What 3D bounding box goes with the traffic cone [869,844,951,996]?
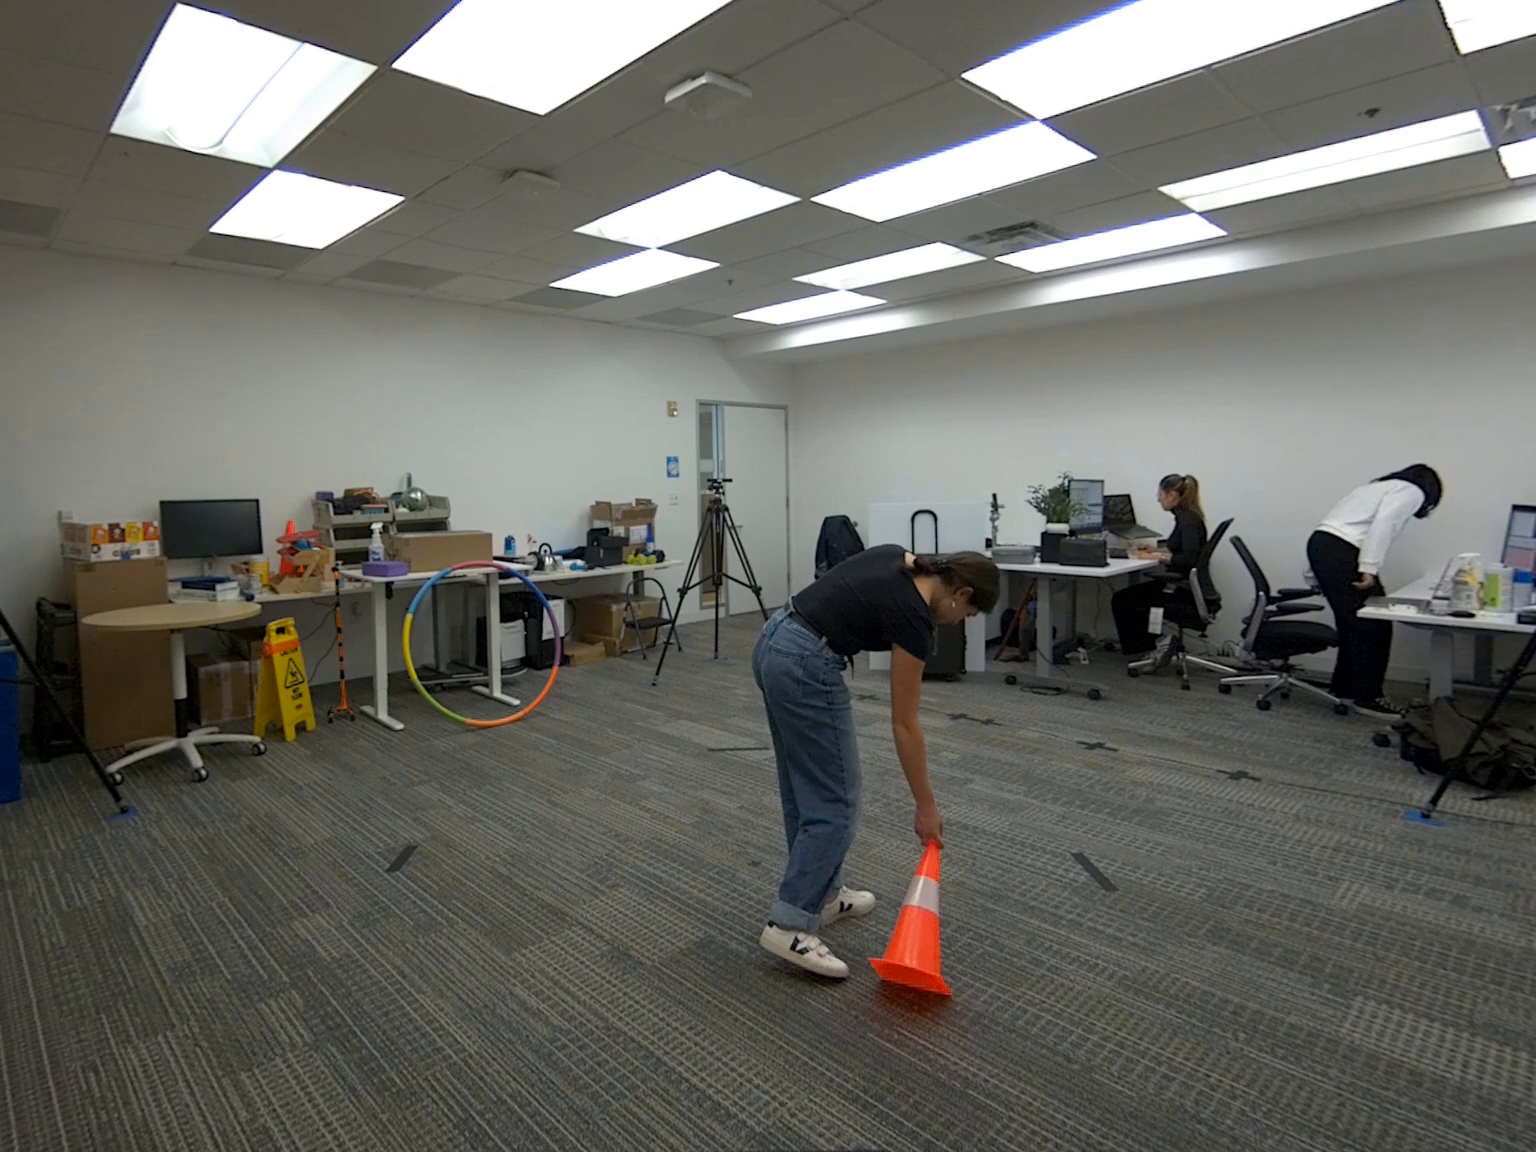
[{"bbox_3d":[0.434,0.923,2.374,0.208,0.389,0.197,0,-39,26],"label":"traffic cone"}]
